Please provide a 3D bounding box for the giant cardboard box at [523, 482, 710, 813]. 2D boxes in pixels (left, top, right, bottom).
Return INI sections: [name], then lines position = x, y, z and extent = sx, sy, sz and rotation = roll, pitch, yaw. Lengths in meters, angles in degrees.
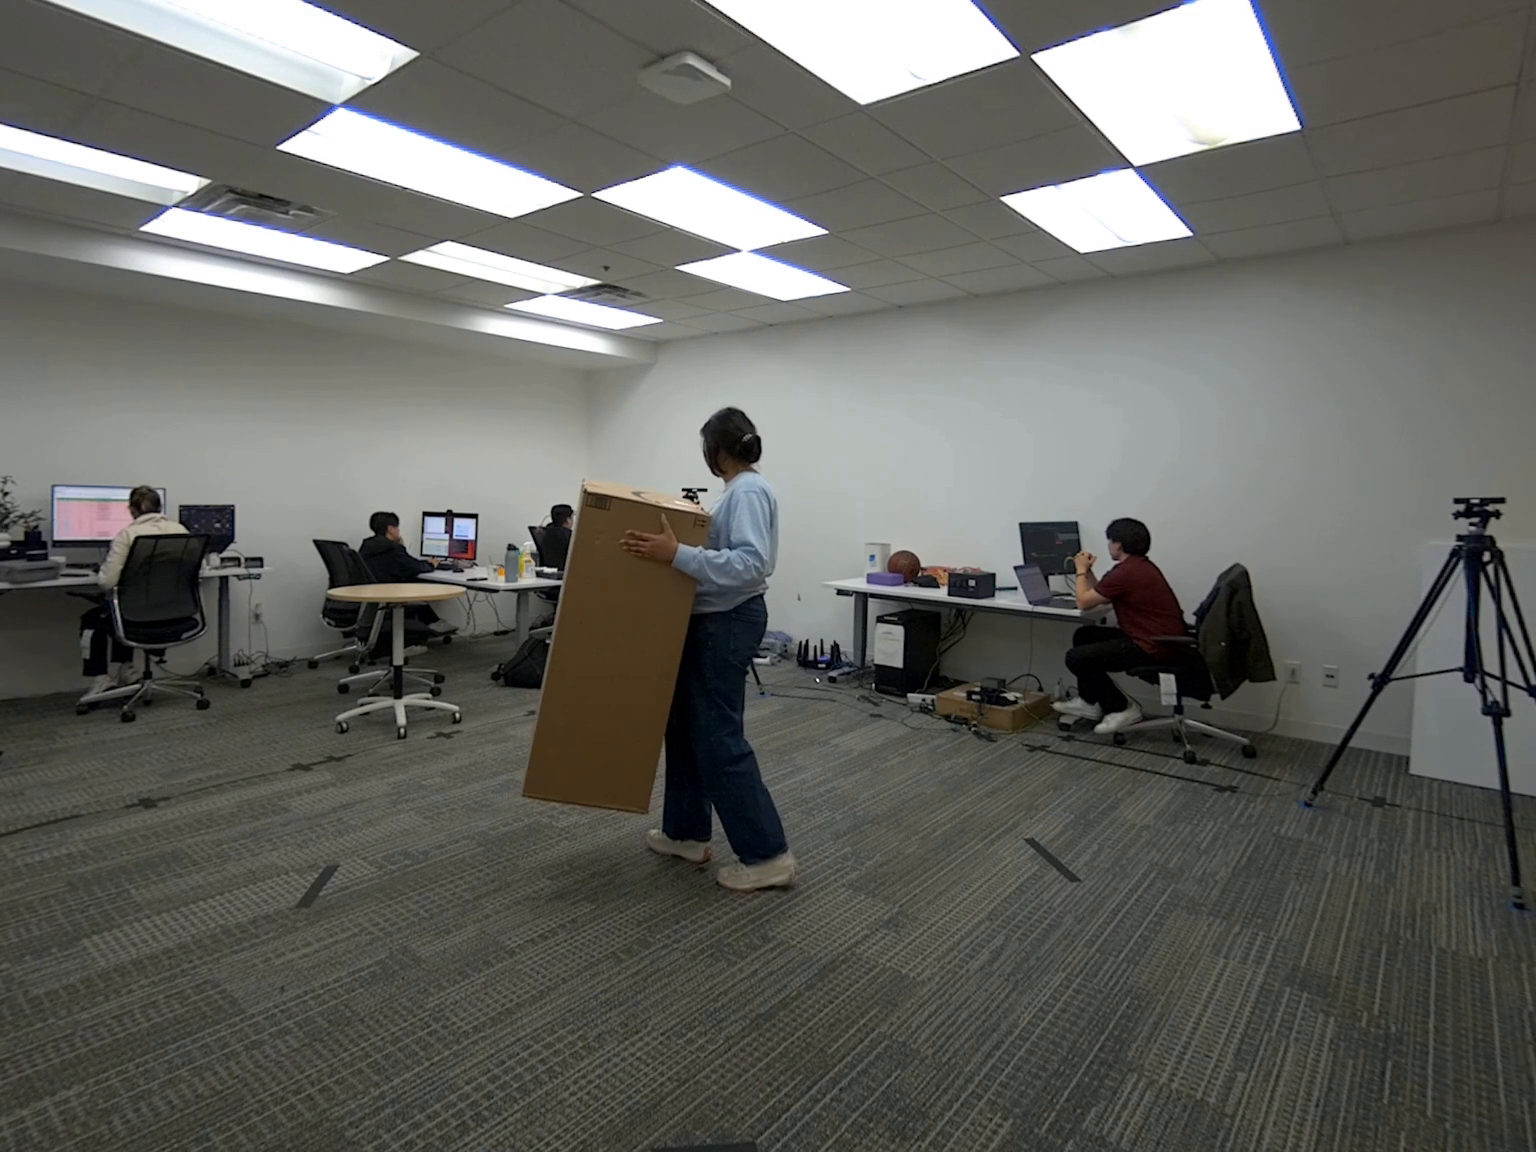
[giant cardboard box]
position = -0.554, 0.213, 3.032
extent = 0.442, 1.023, 0.593
rotation = 12, 5, -10
